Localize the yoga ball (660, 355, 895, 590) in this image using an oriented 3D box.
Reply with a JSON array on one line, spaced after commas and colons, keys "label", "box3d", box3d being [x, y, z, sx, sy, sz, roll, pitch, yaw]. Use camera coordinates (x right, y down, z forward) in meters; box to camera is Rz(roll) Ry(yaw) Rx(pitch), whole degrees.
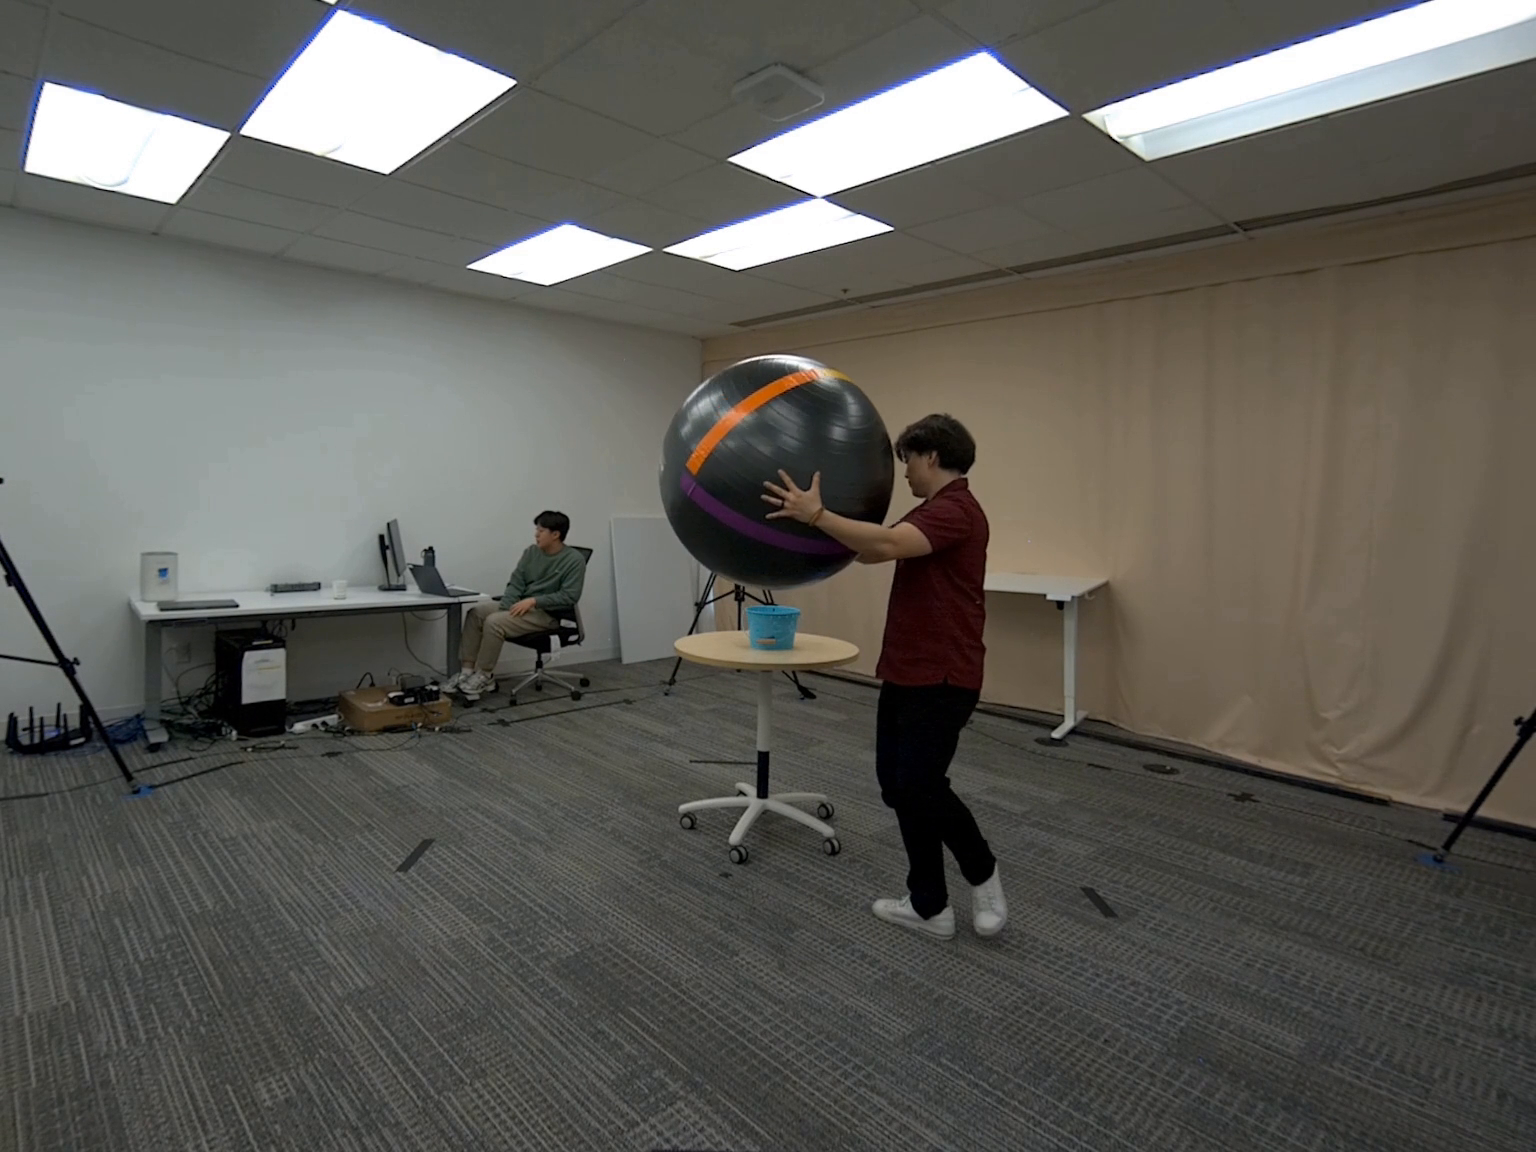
[{"label": "yoga ball", "box3d": [0.022, -0.320, 2.737, 0.757, 0.756, 0.761, 1, 4, -1]}]
